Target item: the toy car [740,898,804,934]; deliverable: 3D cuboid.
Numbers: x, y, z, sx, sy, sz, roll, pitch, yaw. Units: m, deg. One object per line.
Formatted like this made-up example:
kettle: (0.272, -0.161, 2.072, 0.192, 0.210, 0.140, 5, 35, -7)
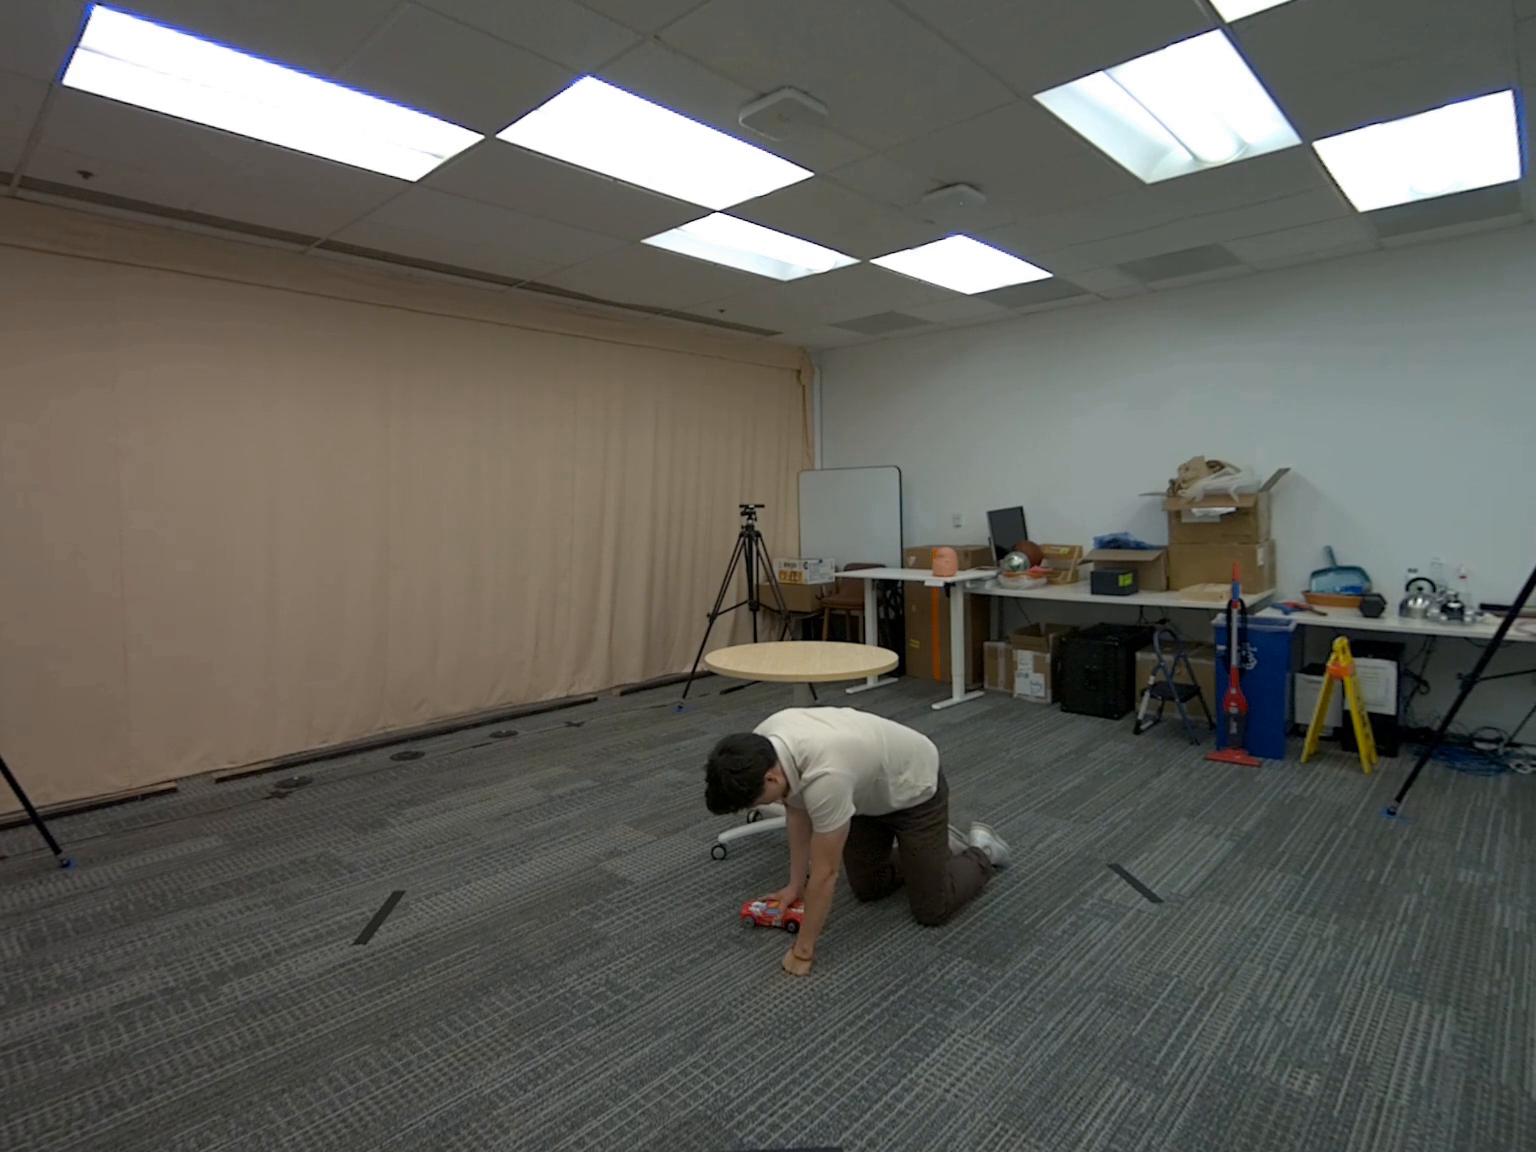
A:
toy car: (0.032, 1.132, 2.797, 0.258, 0.083, 0.128, -10, 1, 15)
